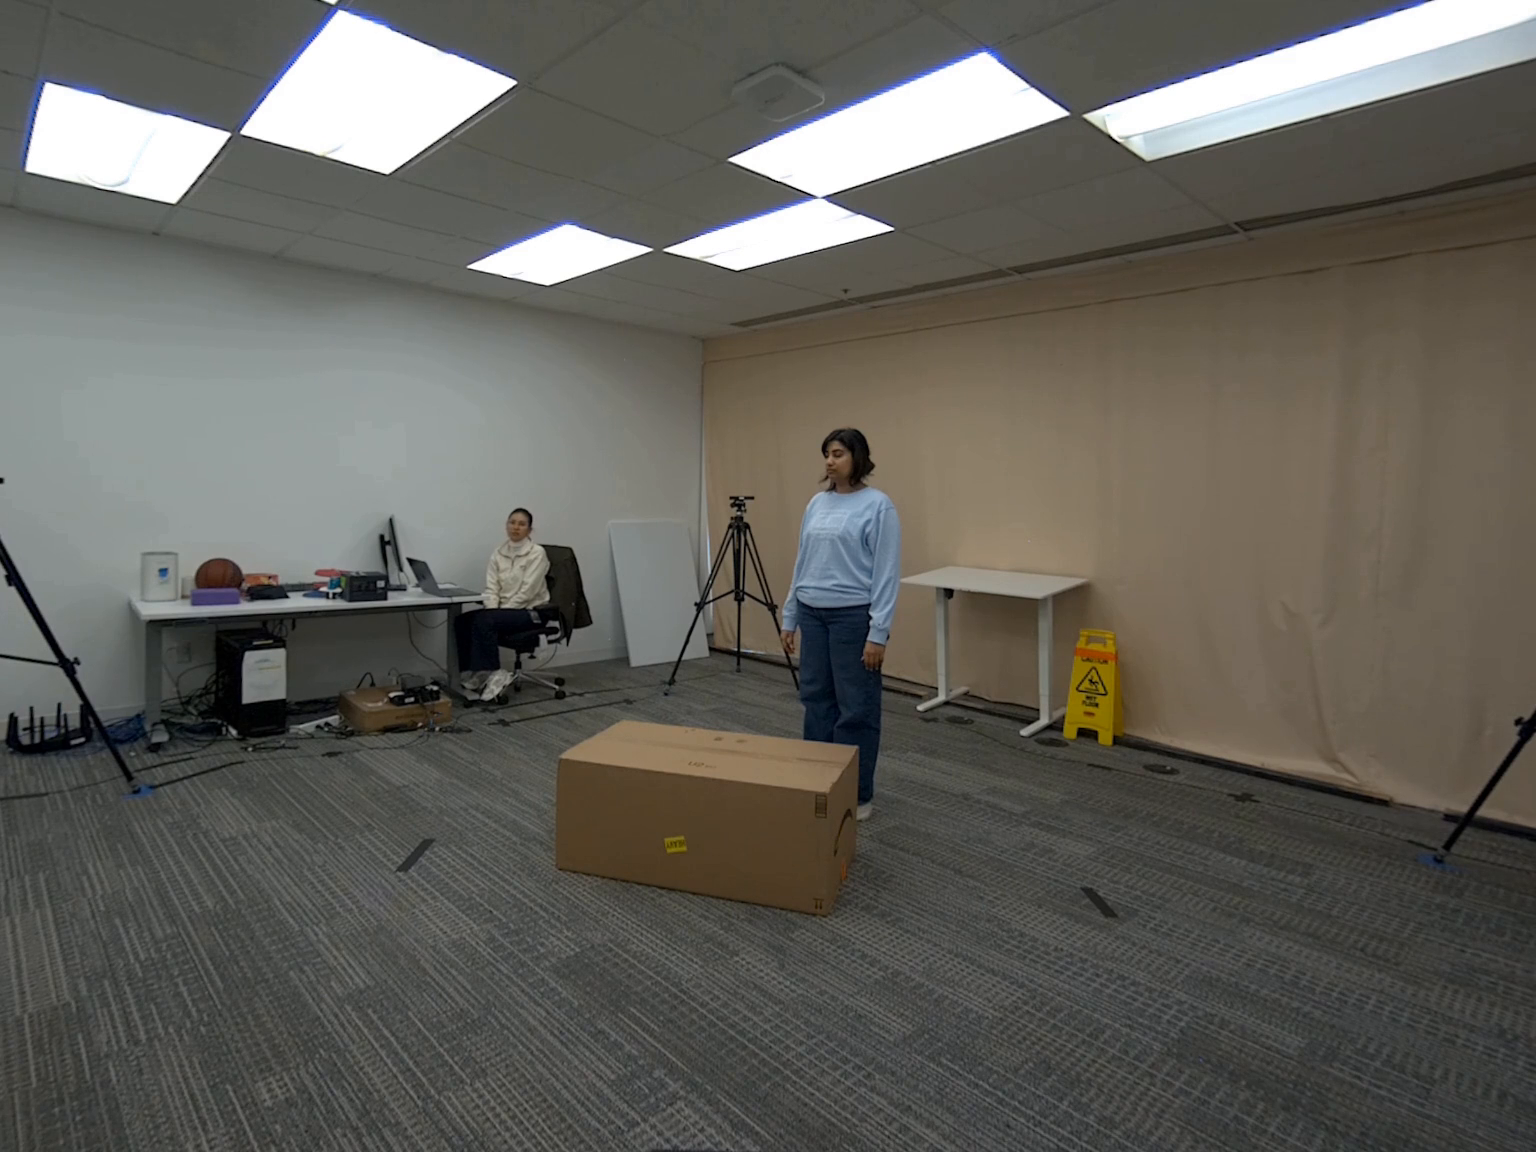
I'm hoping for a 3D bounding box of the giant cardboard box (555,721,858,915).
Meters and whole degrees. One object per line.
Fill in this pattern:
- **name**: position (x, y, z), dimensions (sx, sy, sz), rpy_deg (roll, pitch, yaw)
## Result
- **giant cardboard box**: position (-0.220, 0.875, 3.214), dimensions (1.041, 0.425, 0.571), rpy_deg (3, 4, 17)
